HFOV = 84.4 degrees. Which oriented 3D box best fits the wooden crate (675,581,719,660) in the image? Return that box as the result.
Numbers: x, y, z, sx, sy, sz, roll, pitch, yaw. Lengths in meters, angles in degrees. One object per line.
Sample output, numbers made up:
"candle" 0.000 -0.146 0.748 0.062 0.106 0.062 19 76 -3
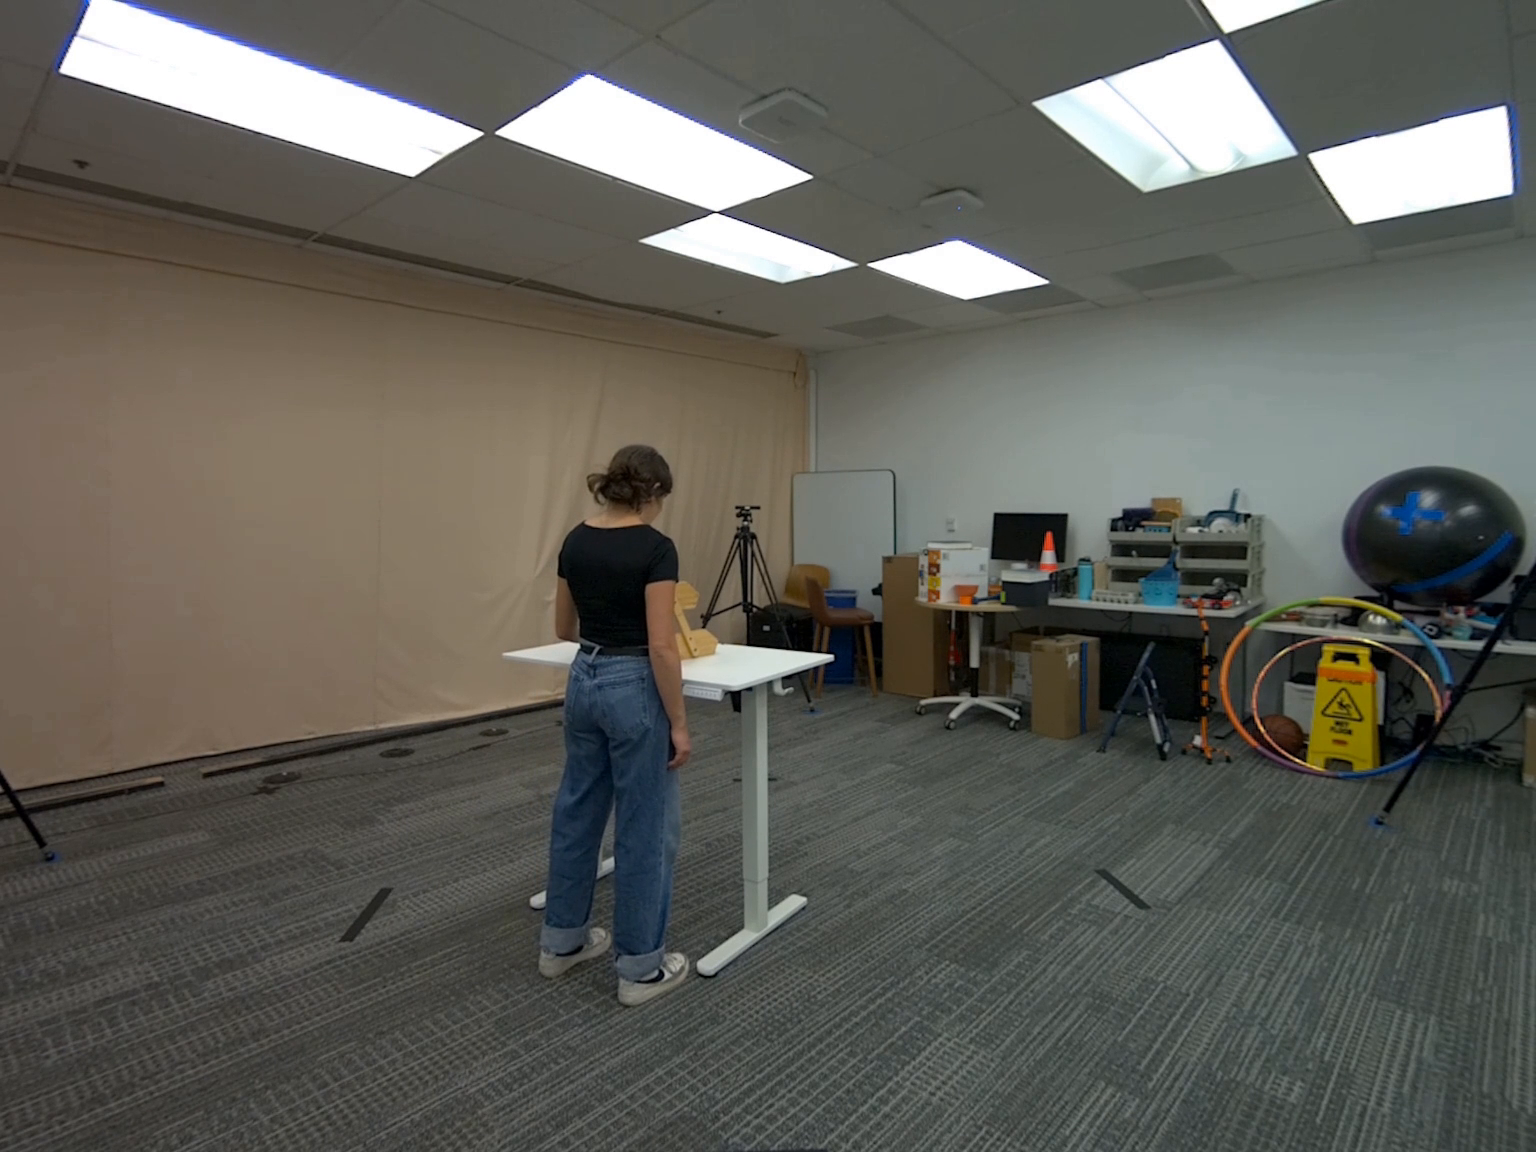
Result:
"wooden crate" -0.384 0.139 2.899 0.335 0.273 0.293 3 5 41
